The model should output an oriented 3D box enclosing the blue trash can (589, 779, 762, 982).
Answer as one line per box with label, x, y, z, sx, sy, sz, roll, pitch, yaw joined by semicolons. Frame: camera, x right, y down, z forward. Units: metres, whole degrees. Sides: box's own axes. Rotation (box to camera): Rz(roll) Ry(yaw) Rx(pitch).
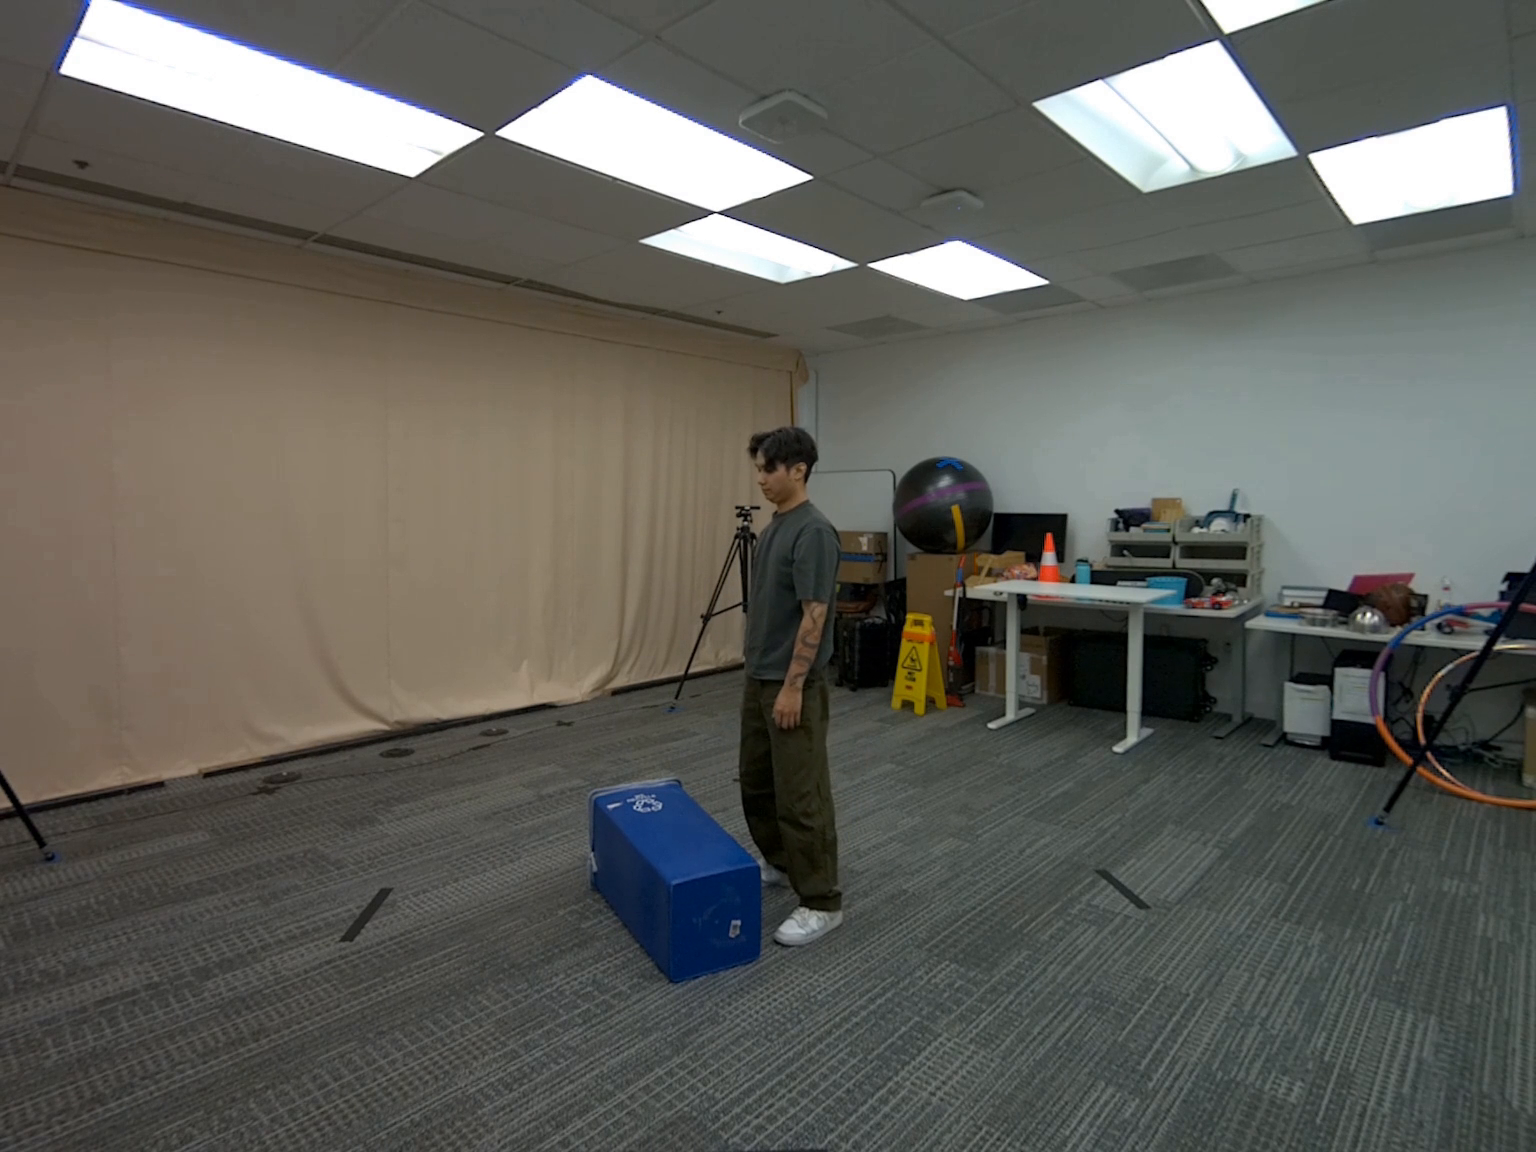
blue trash can;-0.325;0.995;2.816;0.368;0.373;0.734;-1;7;-27
